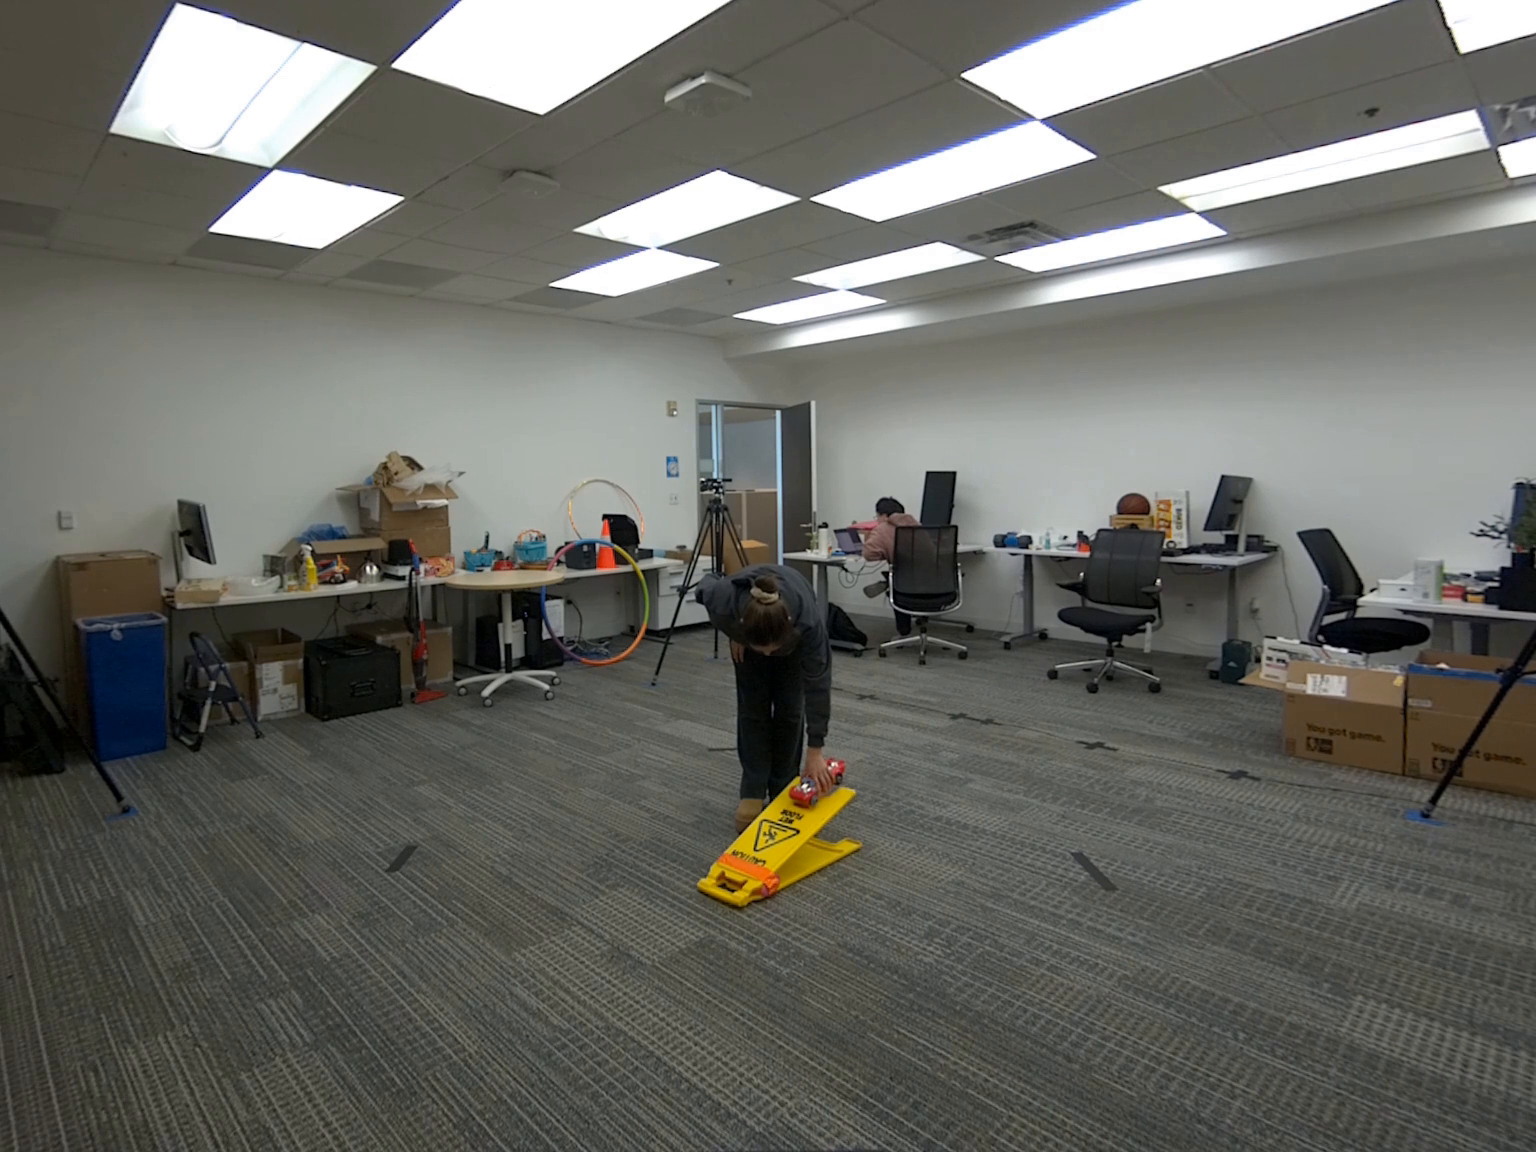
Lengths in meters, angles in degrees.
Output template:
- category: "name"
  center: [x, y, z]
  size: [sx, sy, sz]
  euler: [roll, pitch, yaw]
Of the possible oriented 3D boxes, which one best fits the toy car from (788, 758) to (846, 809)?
- category: "toy car"
  center: [0.197, 0.783, 3.205]
  size: [0.134, 0.081, 0.253]
  euler: [1, 34, 47]
